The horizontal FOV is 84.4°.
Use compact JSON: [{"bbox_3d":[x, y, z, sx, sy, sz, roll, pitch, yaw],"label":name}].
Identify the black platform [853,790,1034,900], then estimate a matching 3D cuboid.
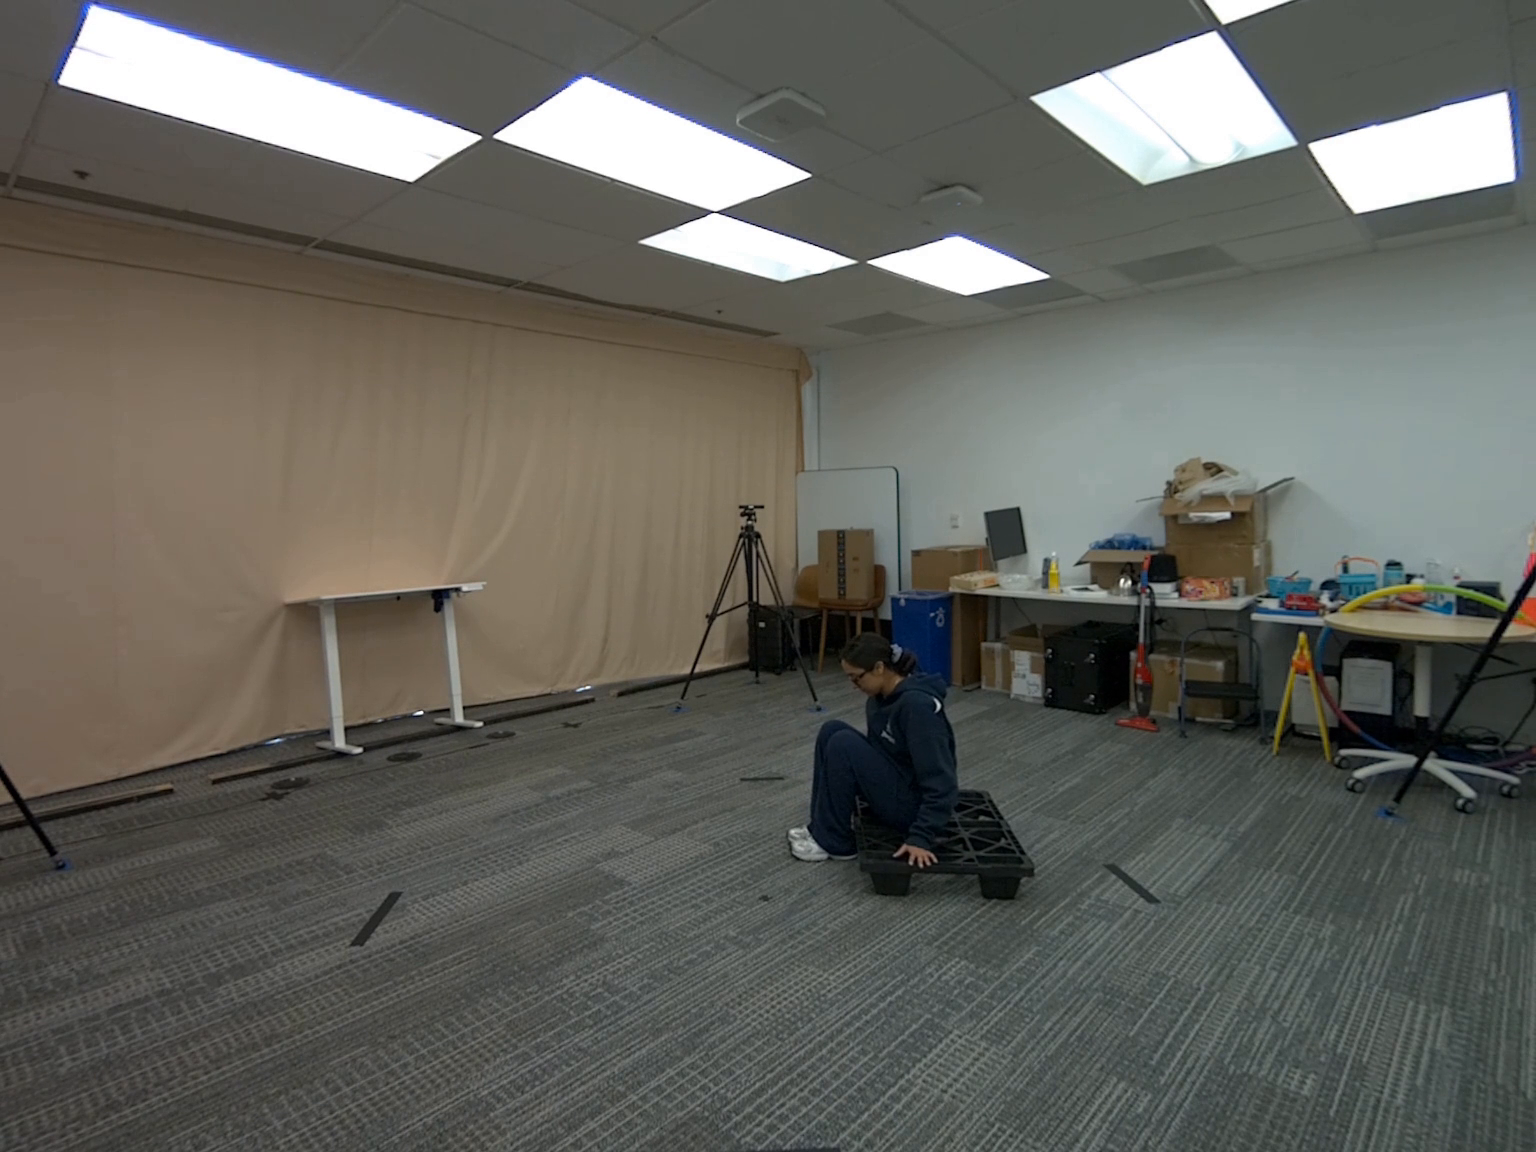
[{"bbox_3d":[0.651,1.034,3.313,0.608,0.143,0.803,0,5,4],"label":"black platform"}]
